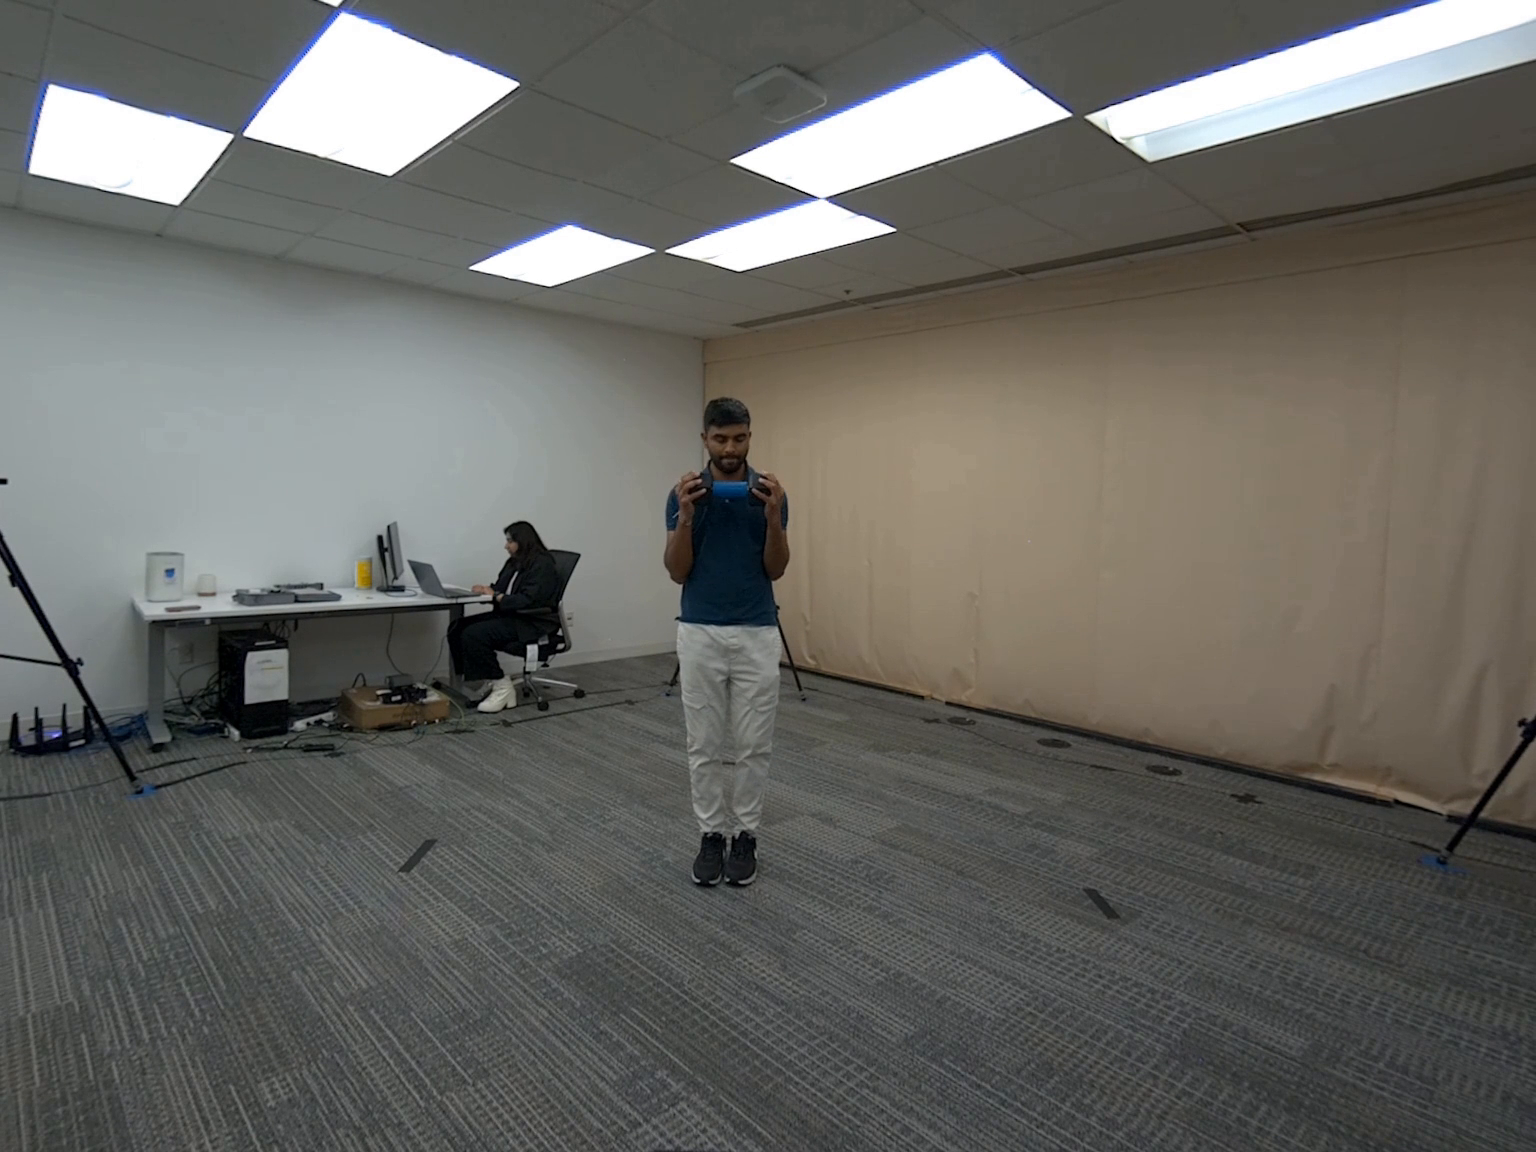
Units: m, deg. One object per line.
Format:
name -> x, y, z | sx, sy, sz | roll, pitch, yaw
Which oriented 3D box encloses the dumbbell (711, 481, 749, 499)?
dumbbell -> -0.144, -0.293, 2.961 | 0.294, 0.109, 0.123 | 3, 1, 1
